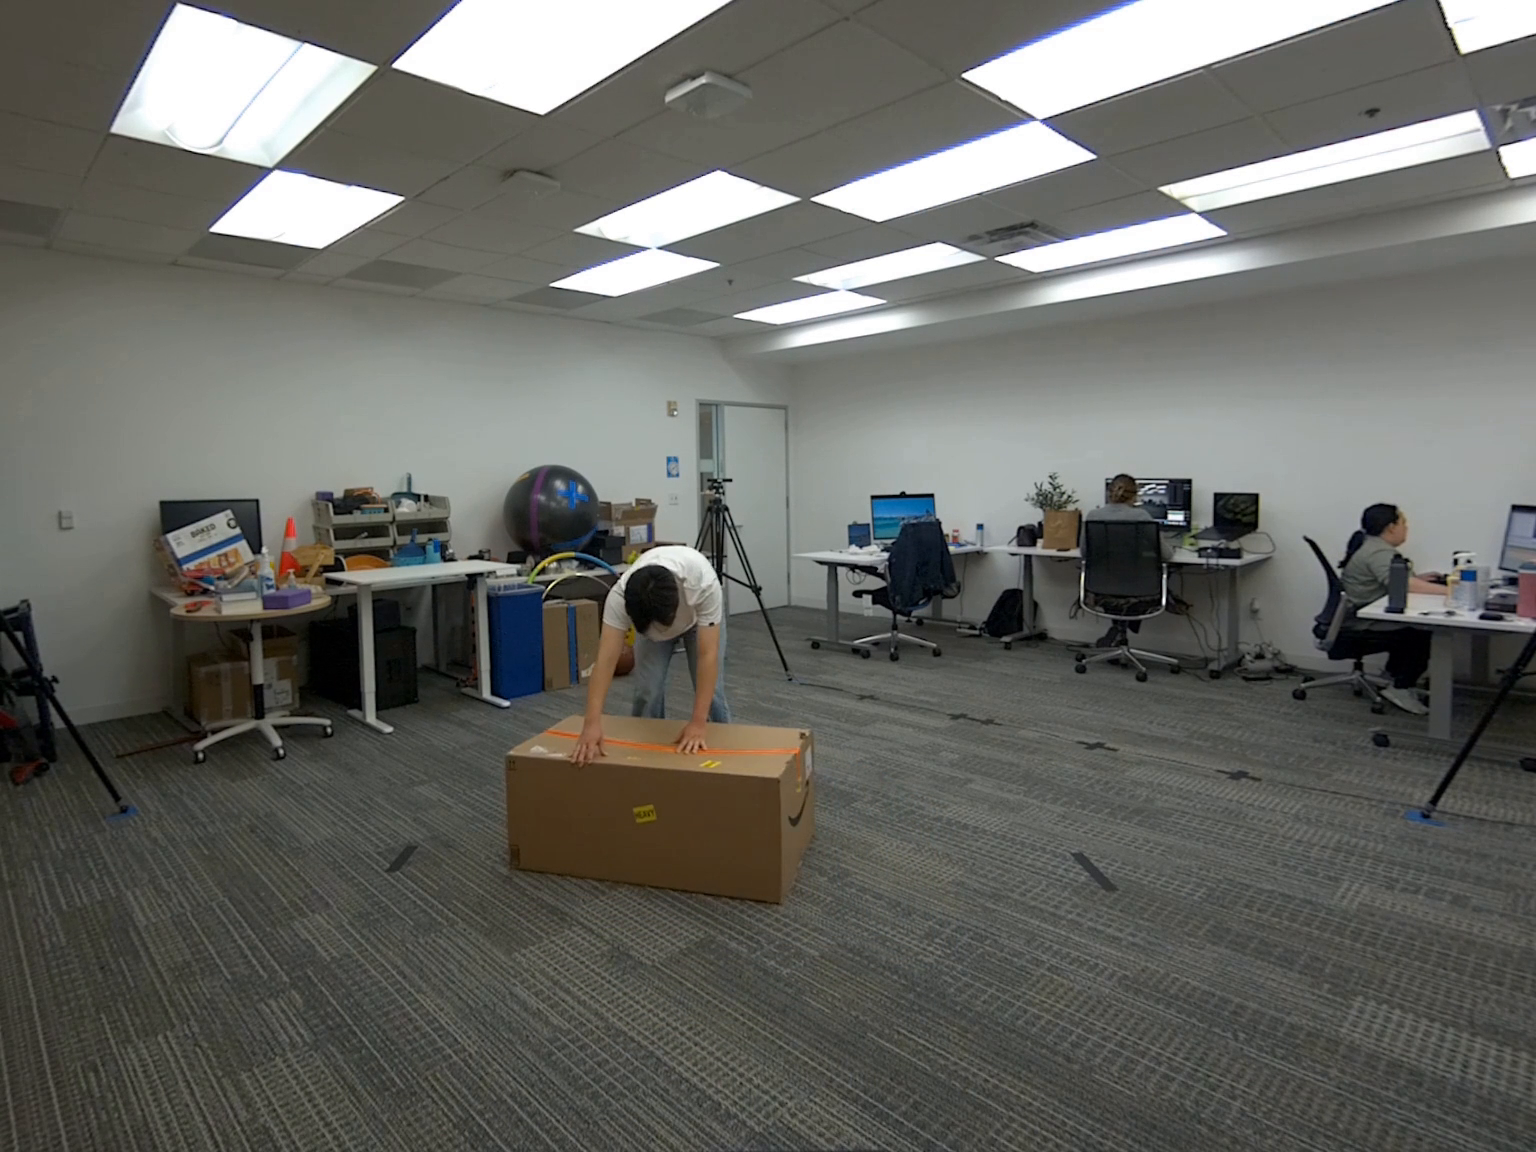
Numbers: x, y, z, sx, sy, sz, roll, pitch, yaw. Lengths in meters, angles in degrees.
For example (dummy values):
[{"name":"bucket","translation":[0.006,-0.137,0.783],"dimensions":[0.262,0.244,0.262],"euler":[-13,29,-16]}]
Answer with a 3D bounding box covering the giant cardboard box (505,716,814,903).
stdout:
[{"name":"giant cardboard box","translation":[-0.383,0.824,3.208],"dimensions":[1.042,0.424,0.571],"euler":[1,6,16]}]
